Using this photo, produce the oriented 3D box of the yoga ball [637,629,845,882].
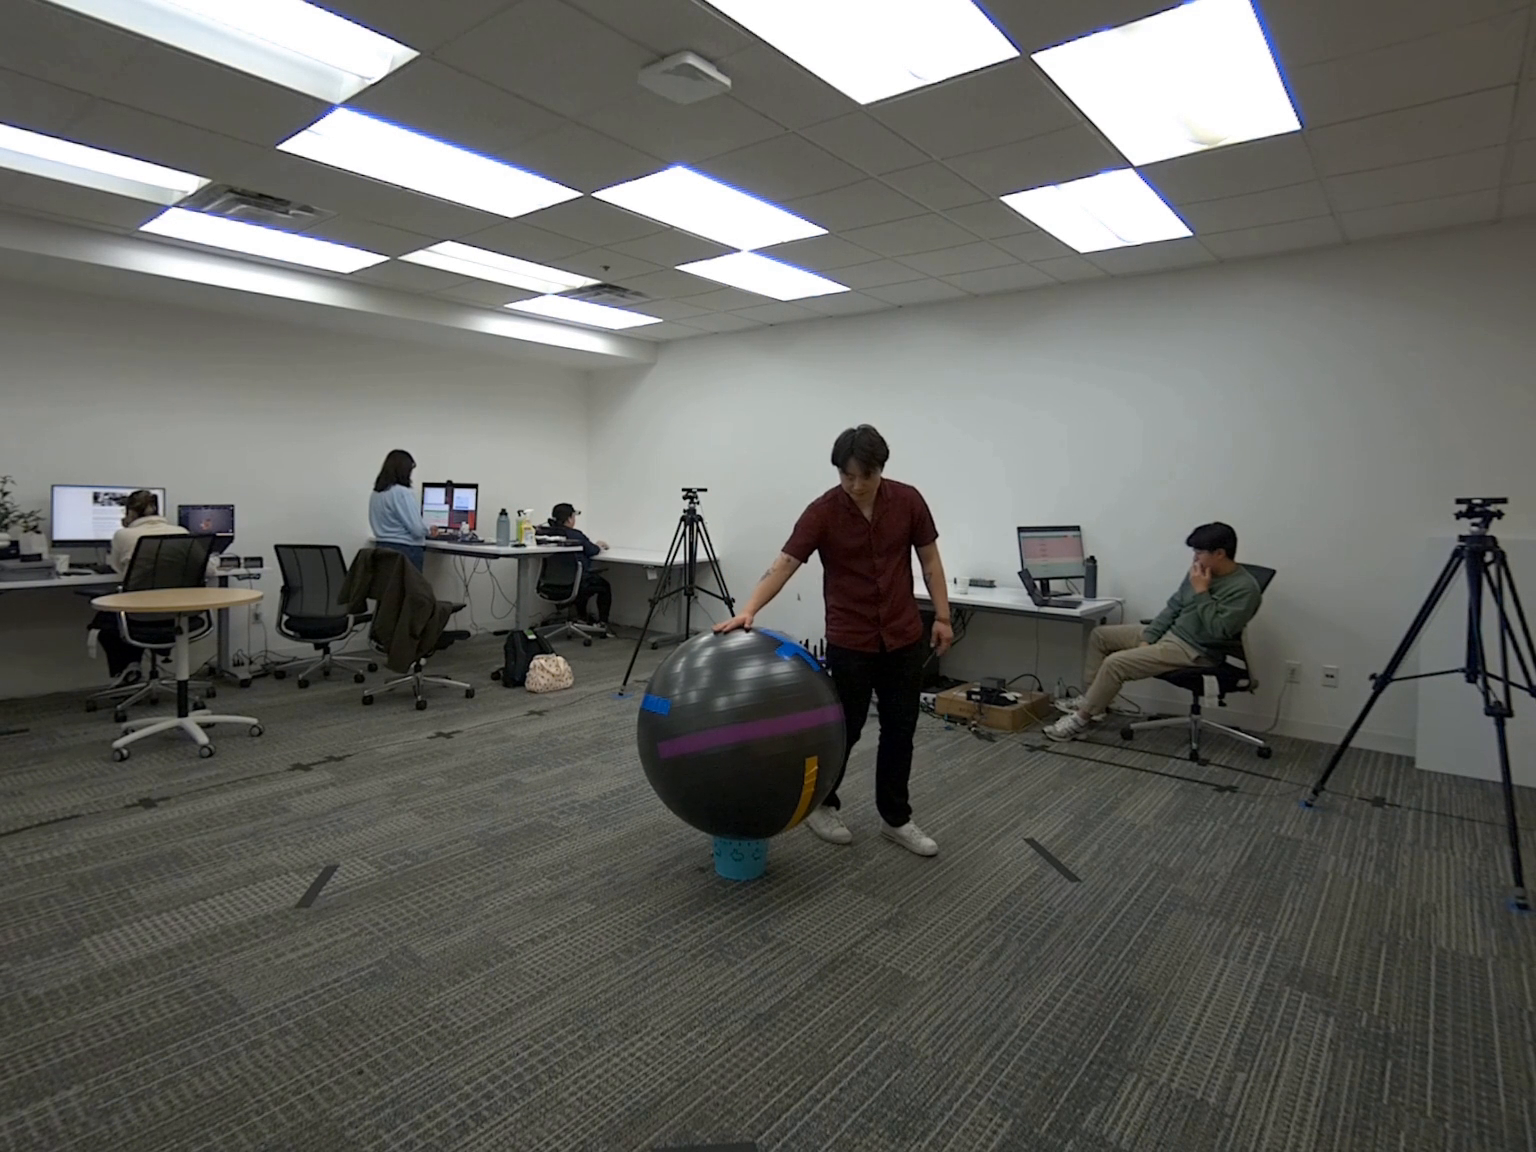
[{"bbox_3d":[-0.115,0.560,3.100,0.757,0.755,0.762,1,4,-2],"label":"yoga ball"}]
